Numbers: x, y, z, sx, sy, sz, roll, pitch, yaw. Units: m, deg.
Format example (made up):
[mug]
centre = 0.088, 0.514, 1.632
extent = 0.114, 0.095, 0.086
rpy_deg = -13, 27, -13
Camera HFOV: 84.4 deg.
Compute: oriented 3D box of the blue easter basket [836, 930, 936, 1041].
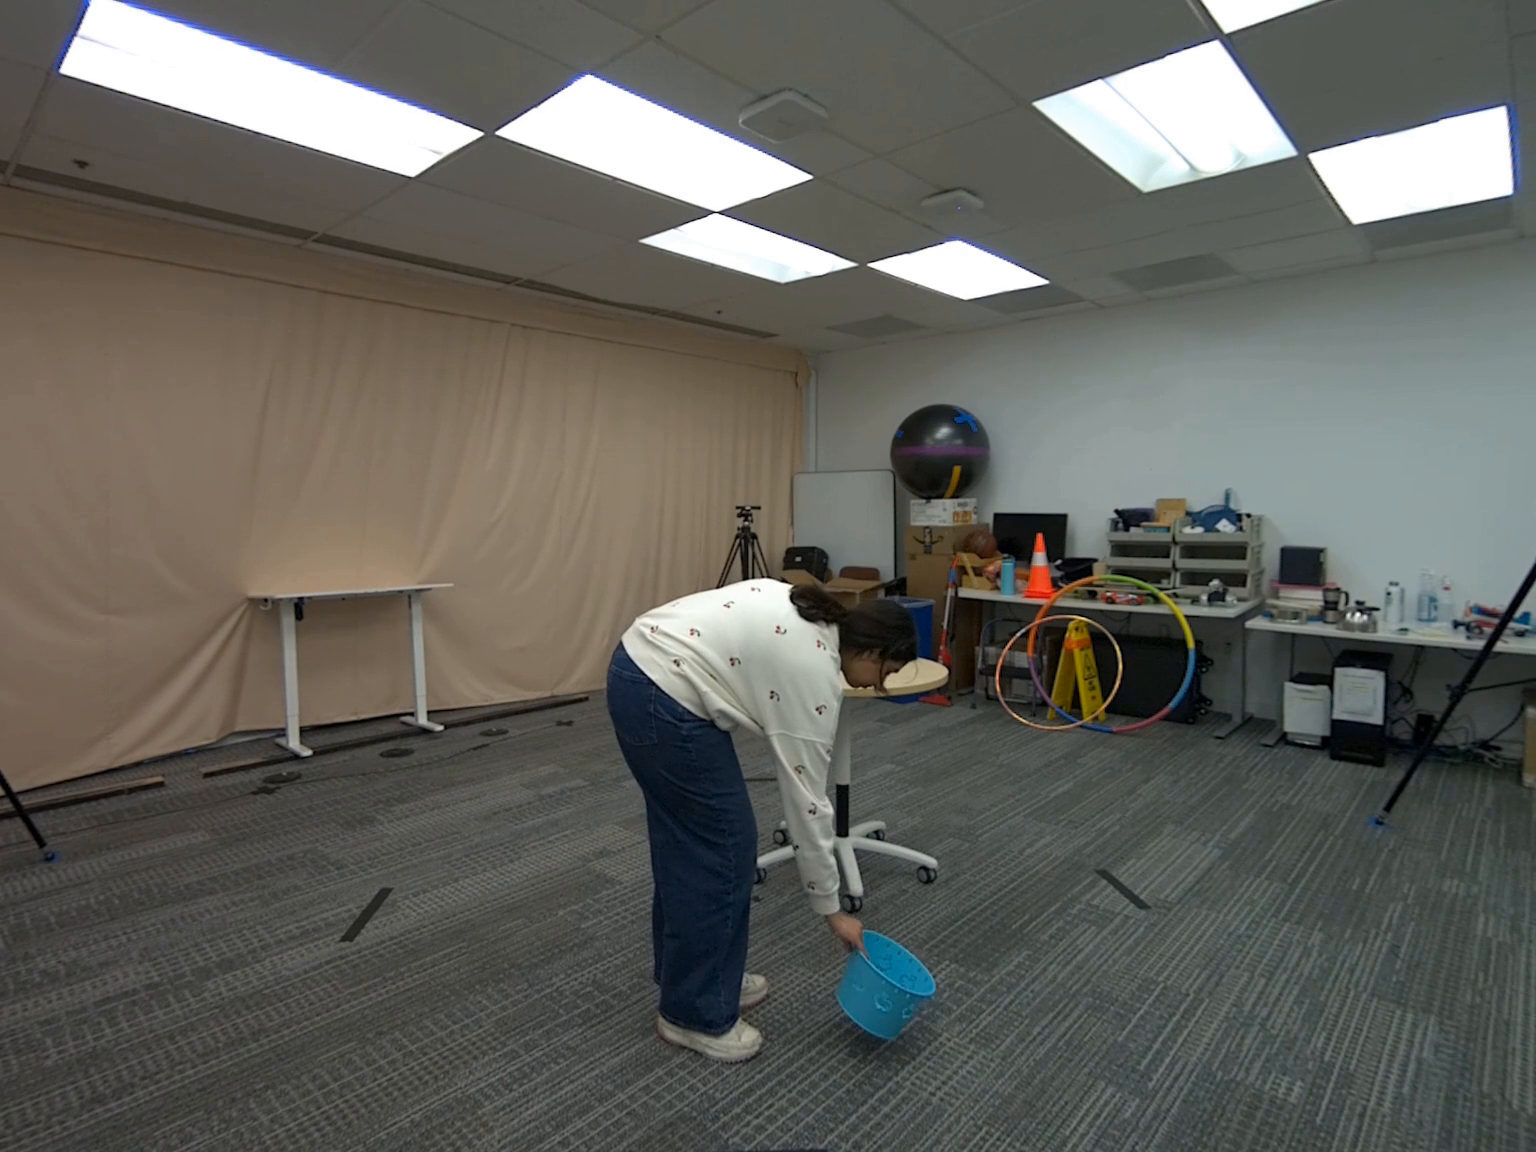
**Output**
[blue easter basket]
centre = 0.301, 1.060, 2.145
extent = 0.242, 0.156, 0.245
rpy_deg = 27, 6, -5
